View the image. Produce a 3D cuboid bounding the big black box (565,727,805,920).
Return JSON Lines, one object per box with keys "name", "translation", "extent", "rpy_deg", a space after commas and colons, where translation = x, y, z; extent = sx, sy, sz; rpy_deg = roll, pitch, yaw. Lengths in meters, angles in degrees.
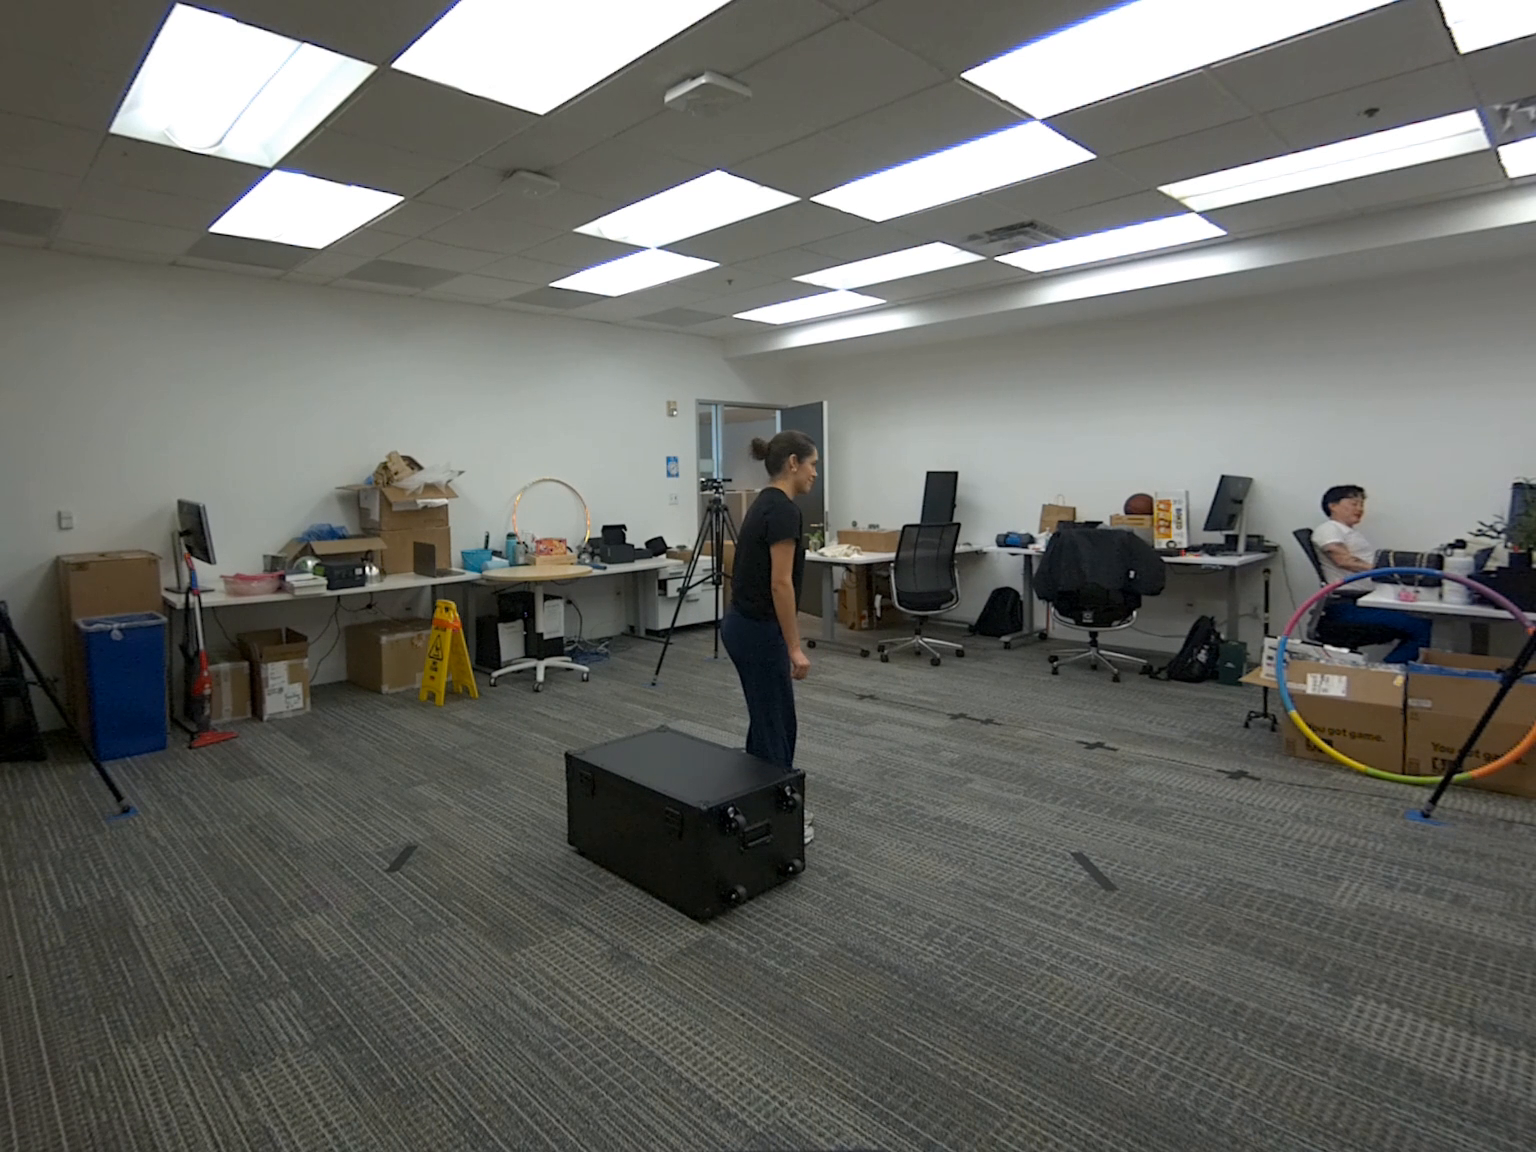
{"name": "big black box", "translation": [-0.298, 0.860, 3.089], "extent": [0.888, 0.395, 0.507], "rpy_deg": [4, 7, 45]}
